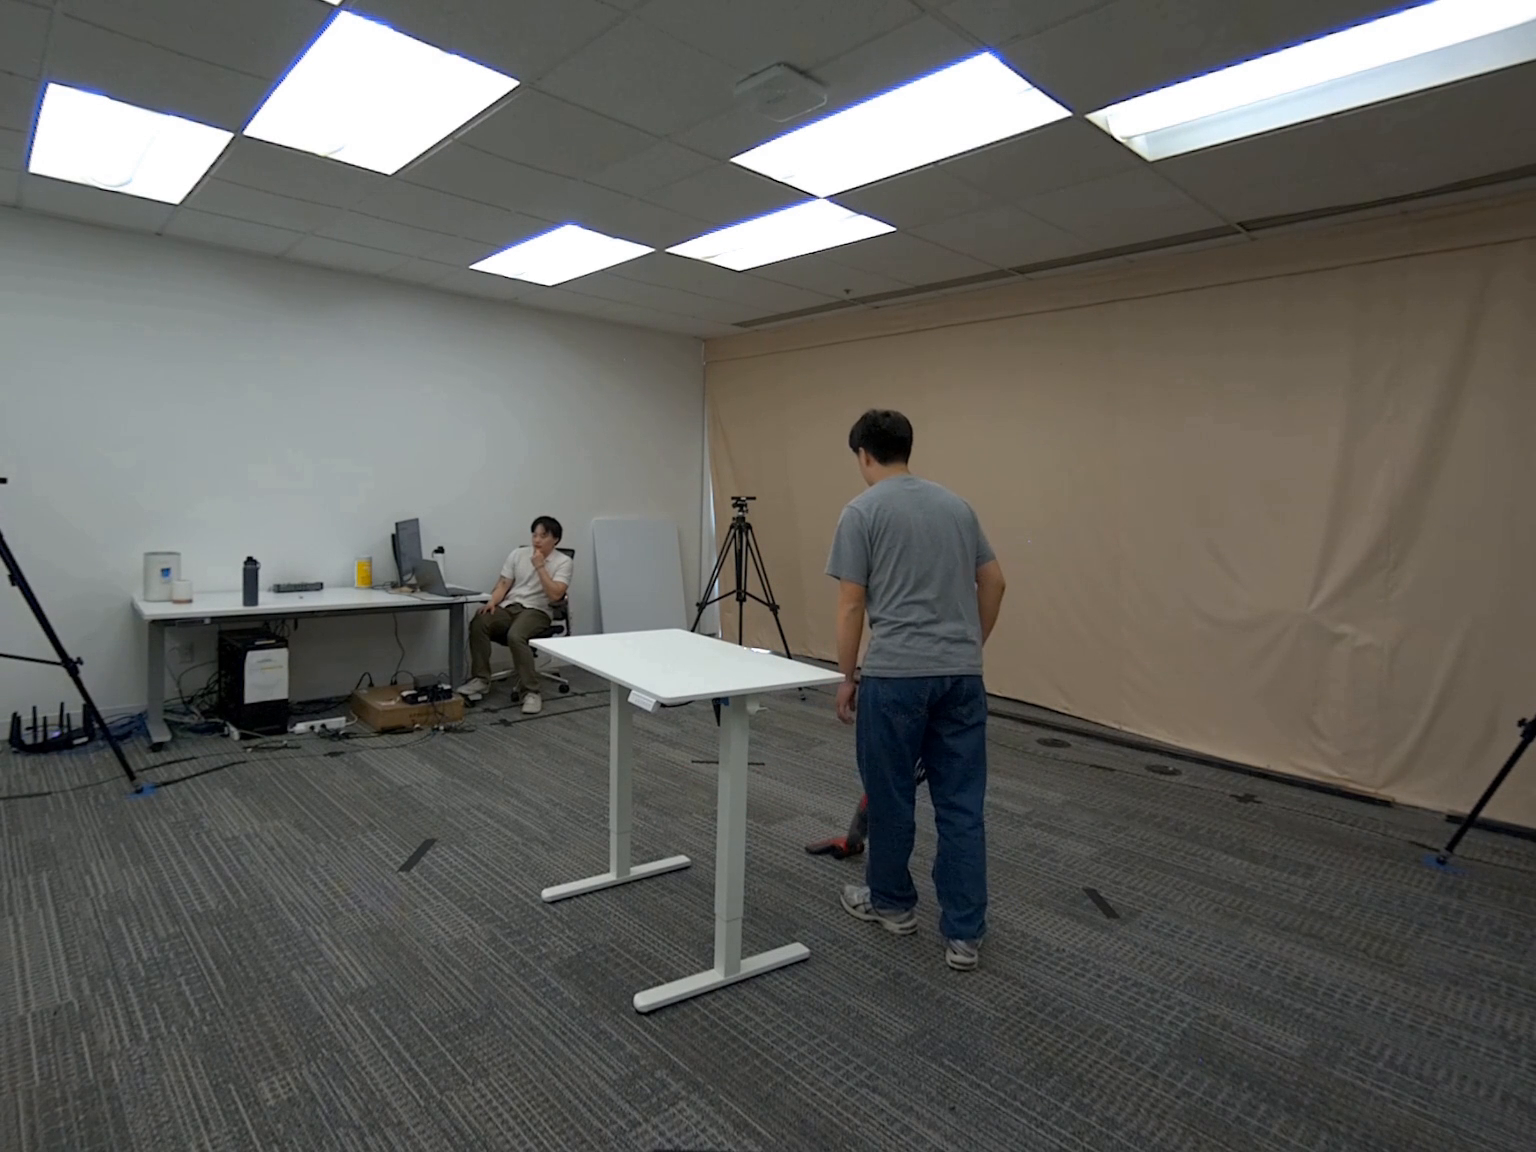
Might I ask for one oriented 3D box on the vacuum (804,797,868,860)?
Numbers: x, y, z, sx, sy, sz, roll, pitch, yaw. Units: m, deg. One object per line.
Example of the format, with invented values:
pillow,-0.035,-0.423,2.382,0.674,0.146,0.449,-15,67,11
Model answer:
vacuum,0.470,0.713,3.075,0.247,1.039,0.148,-5,44,-37
